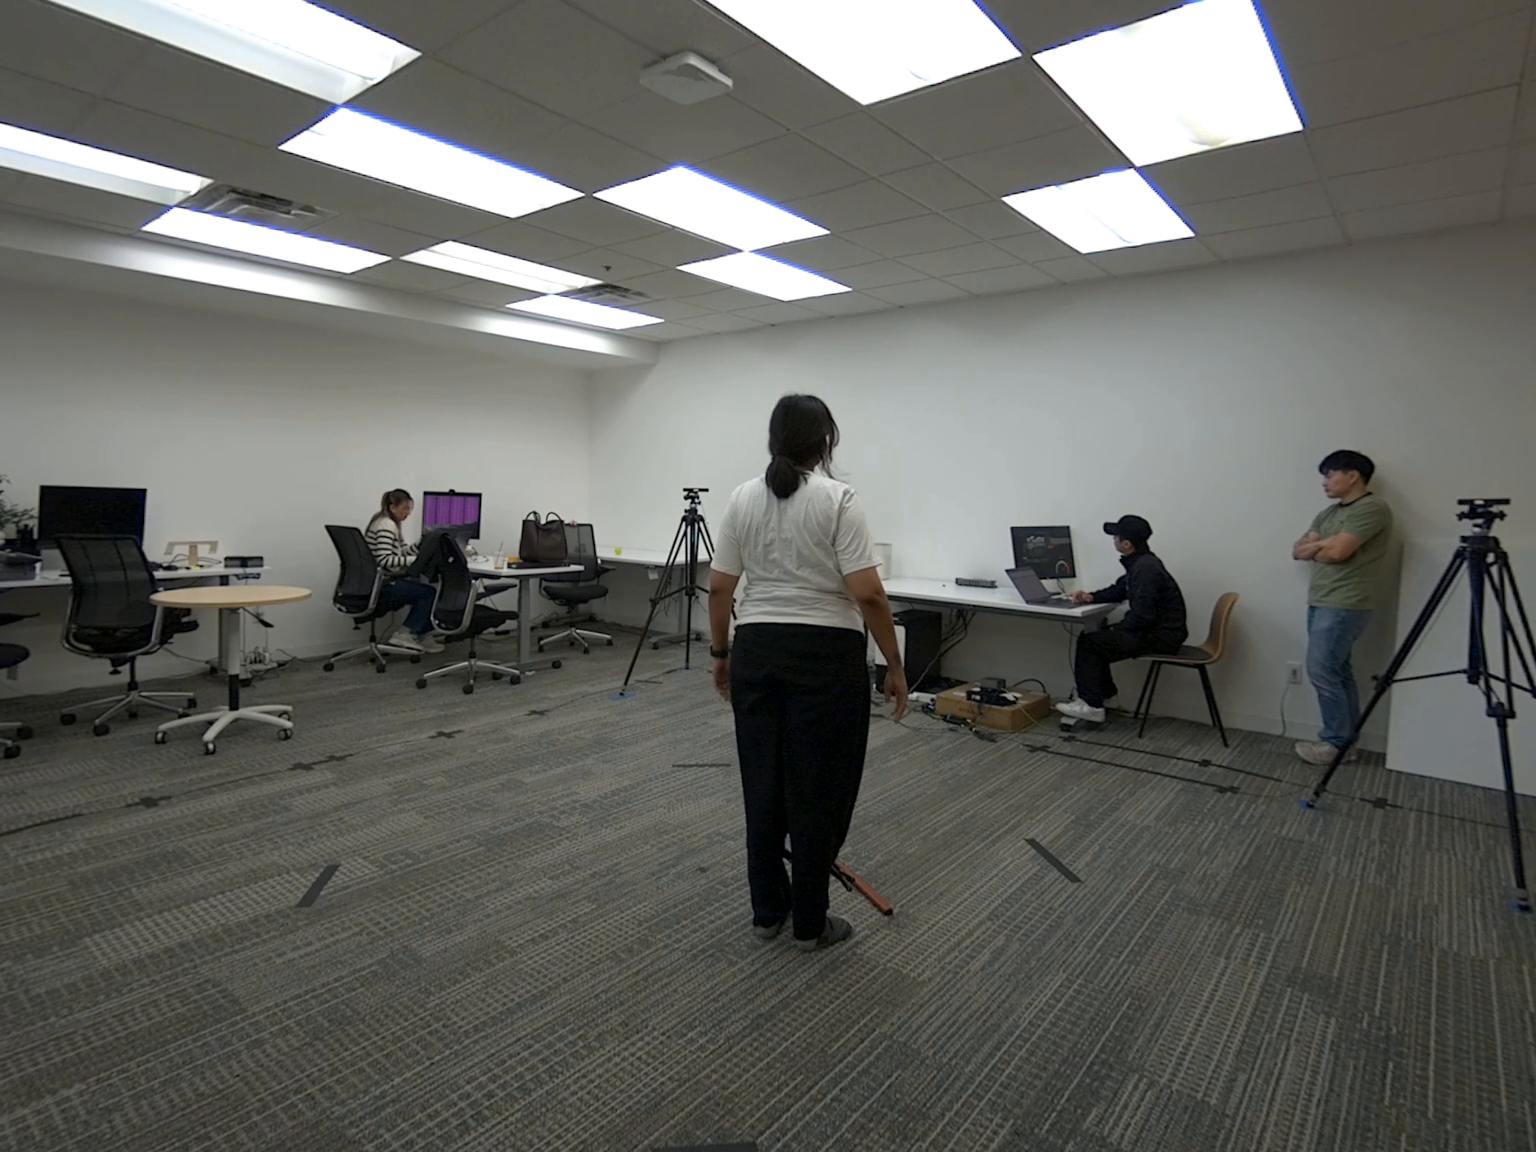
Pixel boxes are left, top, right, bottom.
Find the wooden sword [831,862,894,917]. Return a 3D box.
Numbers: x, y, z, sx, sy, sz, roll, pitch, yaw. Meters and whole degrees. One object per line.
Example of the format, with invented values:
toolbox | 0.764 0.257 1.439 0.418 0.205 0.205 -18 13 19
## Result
wooden sword | 0.175 1.039 3.272 0.051 0.023 1.052 -44 21 -13
